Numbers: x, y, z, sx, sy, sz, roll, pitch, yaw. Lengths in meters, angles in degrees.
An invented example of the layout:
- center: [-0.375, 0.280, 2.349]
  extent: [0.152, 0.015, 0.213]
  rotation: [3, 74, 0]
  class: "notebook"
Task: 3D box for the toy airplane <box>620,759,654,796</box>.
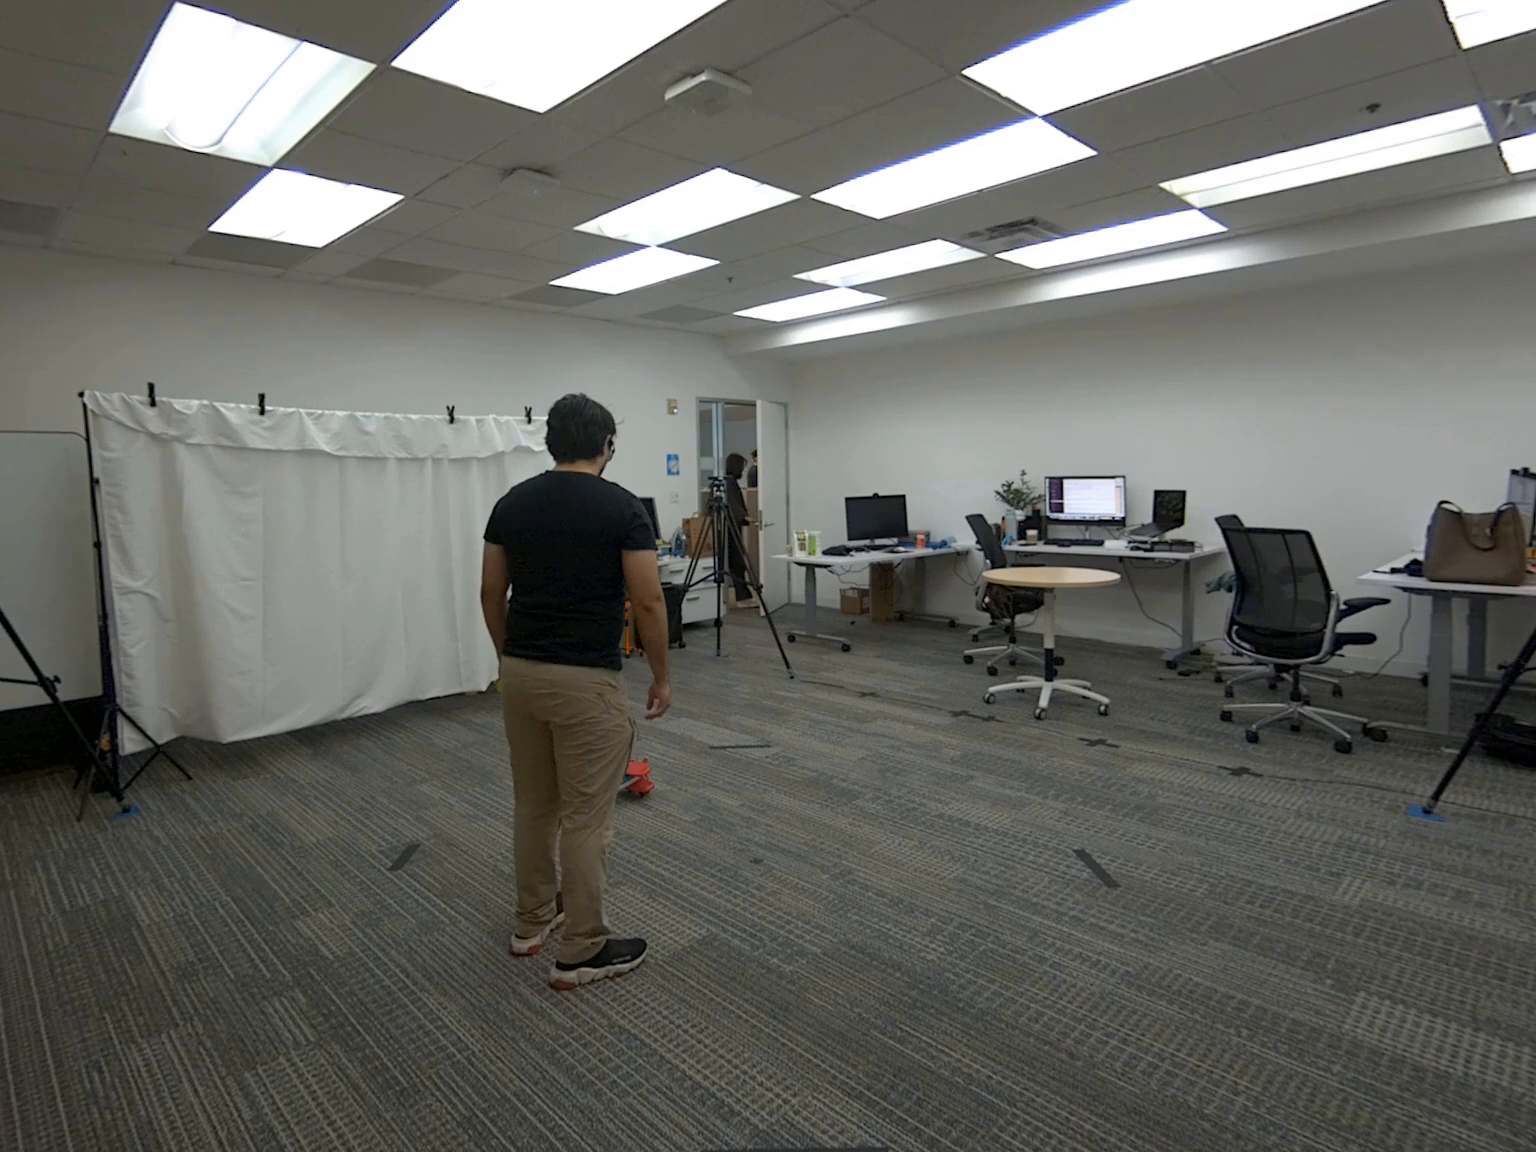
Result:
- center: [-0.617, 0.900, 3.731]
  extent: [0.254, 0.156, 0.257]
  rotation: [0, 4, 10]
  class: "toy airplane"
